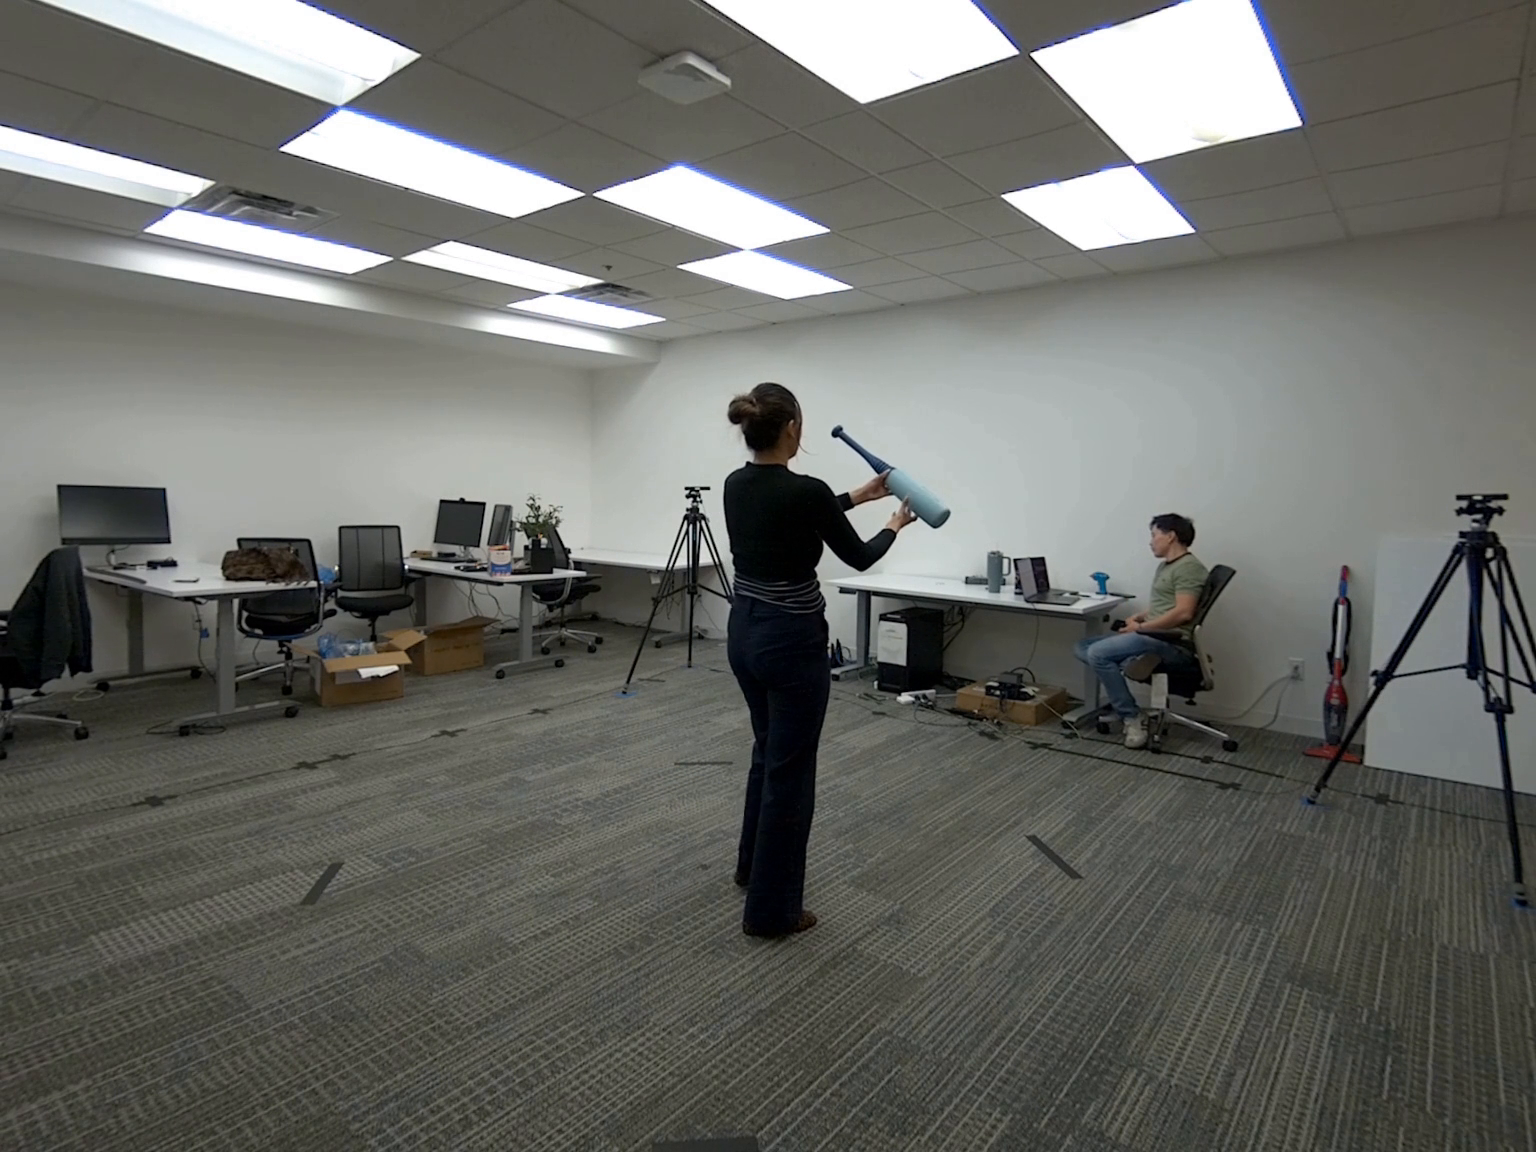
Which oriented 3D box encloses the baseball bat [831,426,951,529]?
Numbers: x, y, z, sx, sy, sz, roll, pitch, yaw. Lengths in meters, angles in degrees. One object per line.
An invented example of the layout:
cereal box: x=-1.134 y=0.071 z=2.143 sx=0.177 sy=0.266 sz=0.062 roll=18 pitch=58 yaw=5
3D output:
baseball bat: x=0.414 y=-0.370 z=2.995 sx=0.086 sy=0.088 sz=0.563 roll=-3 pitch=42 yaw=-50
